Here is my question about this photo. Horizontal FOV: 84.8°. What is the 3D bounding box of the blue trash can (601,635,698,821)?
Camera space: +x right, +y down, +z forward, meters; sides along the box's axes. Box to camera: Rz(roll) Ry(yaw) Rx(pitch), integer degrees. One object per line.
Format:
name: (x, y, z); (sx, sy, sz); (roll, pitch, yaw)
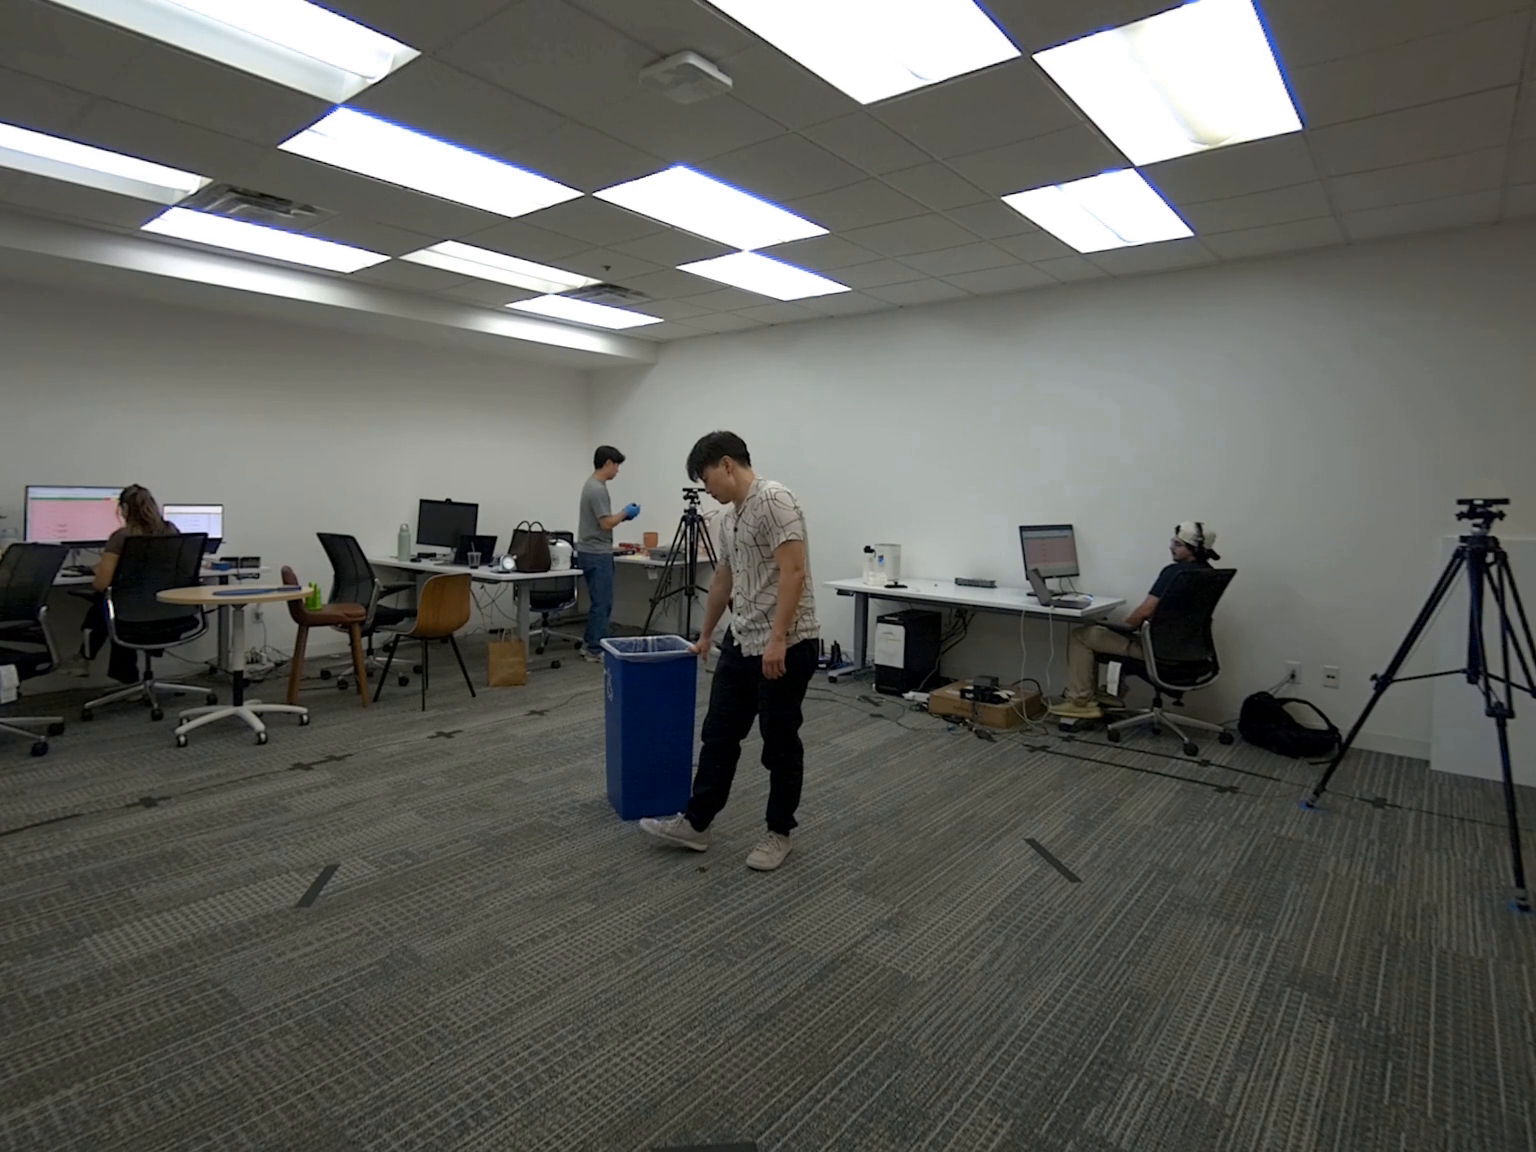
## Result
blue trash can: (-0.529, 0.647, 3.717); (0.370, 0.711, 0.383); (-1, 3, -23)
